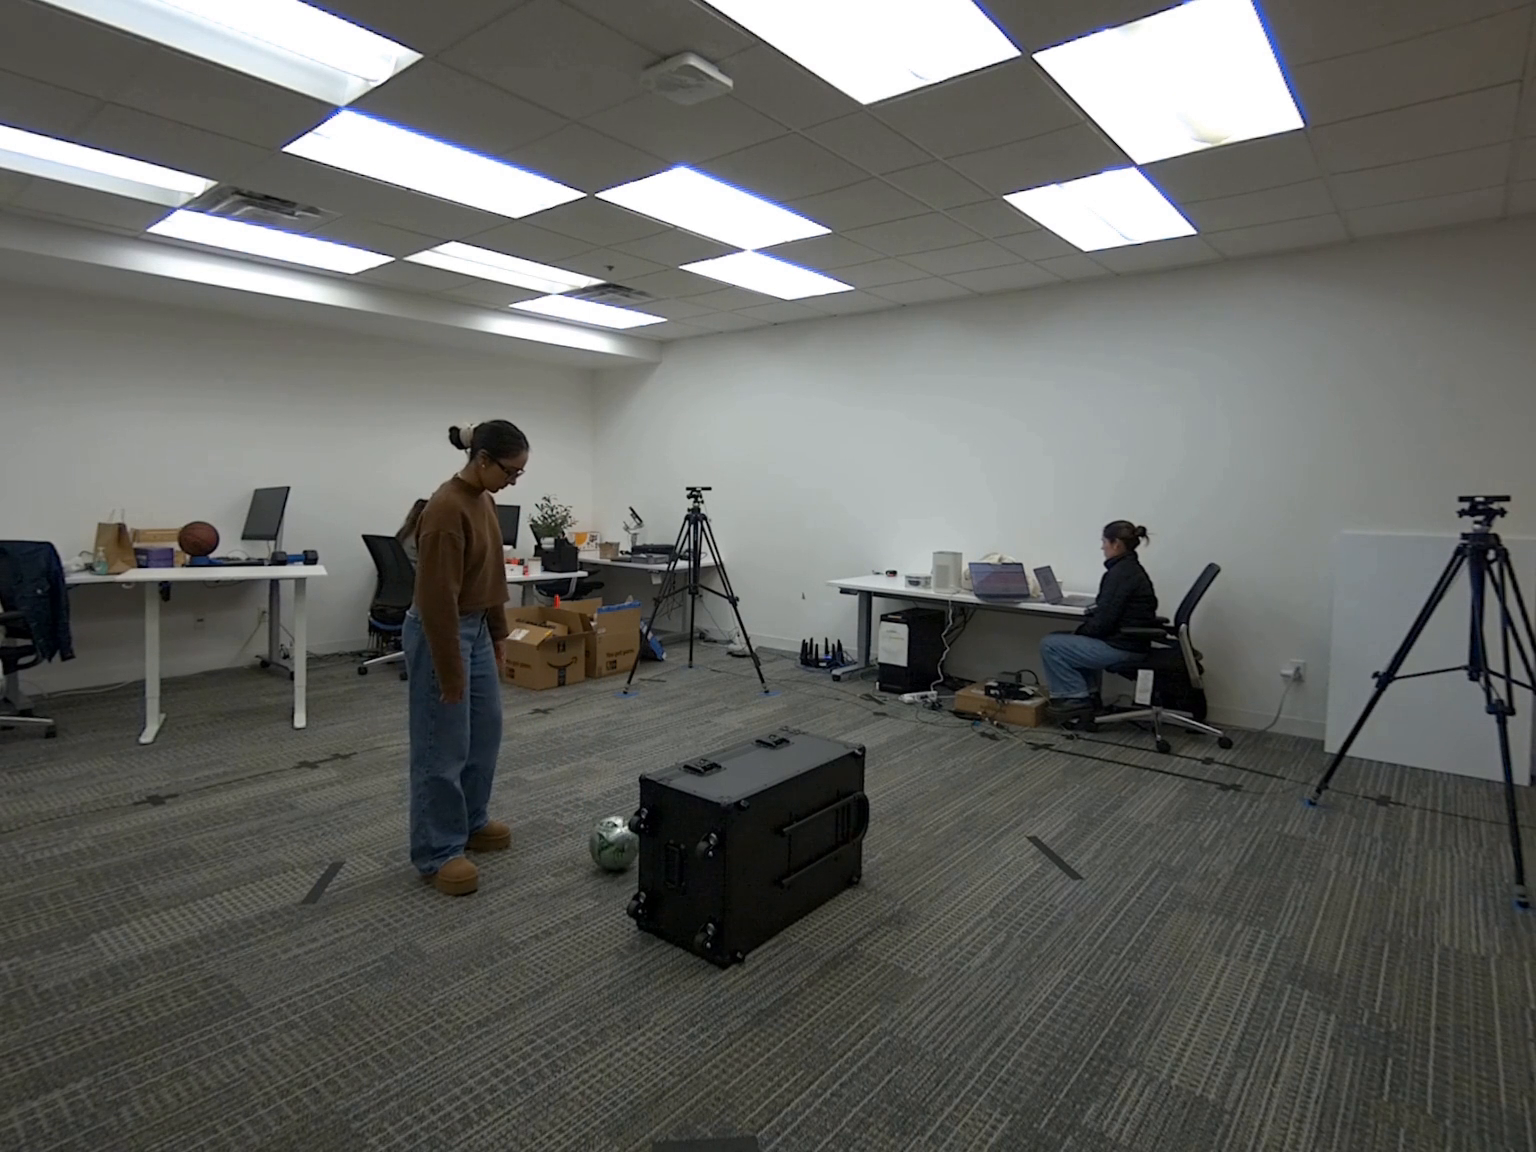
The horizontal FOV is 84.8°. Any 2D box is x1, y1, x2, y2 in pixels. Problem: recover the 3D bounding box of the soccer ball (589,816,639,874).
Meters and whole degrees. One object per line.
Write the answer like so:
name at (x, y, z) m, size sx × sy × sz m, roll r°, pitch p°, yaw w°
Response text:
soccer ball at (-0.567, 0.976, 3.094) m, size 0.187 × 0.187 × 0.188 m, roll 1°, pitch 4°, yaw -2°
